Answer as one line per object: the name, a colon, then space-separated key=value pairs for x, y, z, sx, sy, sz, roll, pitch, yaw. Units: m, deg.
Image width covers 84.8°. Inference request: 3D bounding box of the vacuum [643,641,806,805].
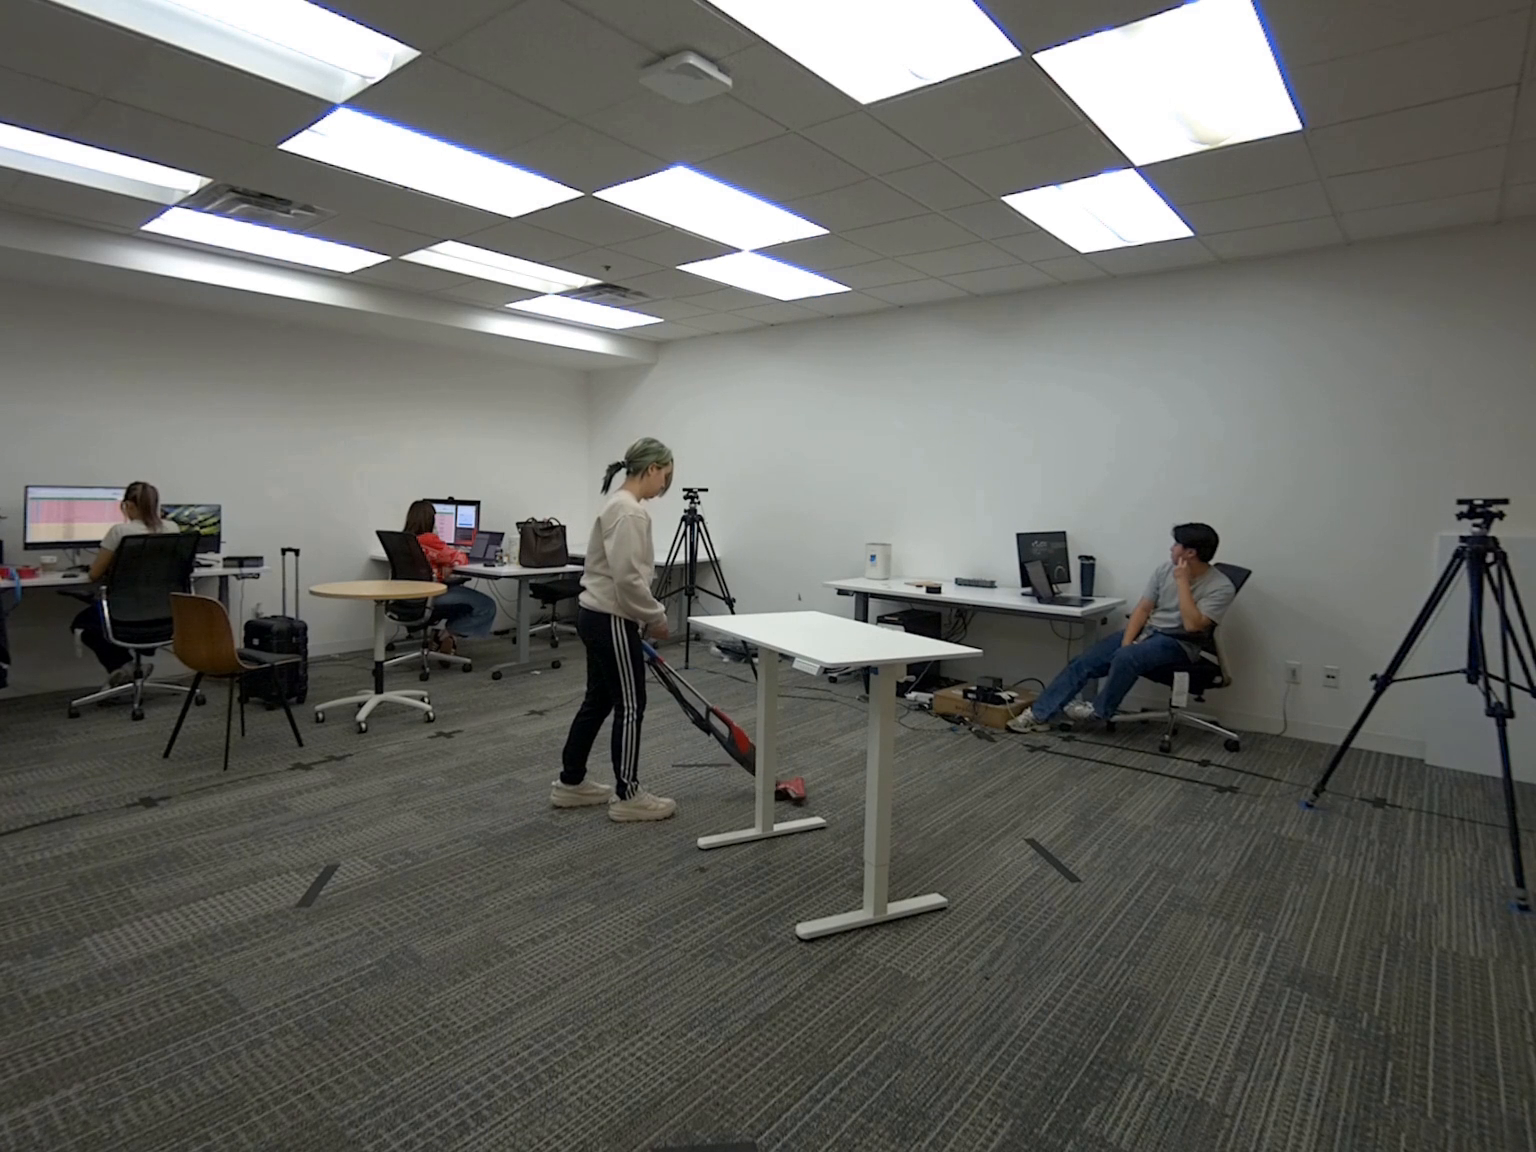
vacuum: x=-0.291 y=0.634 z=3.881 sx=1.048 sy=0.144 sz=0.253 roll=42 pitch=3 yaw=-1
